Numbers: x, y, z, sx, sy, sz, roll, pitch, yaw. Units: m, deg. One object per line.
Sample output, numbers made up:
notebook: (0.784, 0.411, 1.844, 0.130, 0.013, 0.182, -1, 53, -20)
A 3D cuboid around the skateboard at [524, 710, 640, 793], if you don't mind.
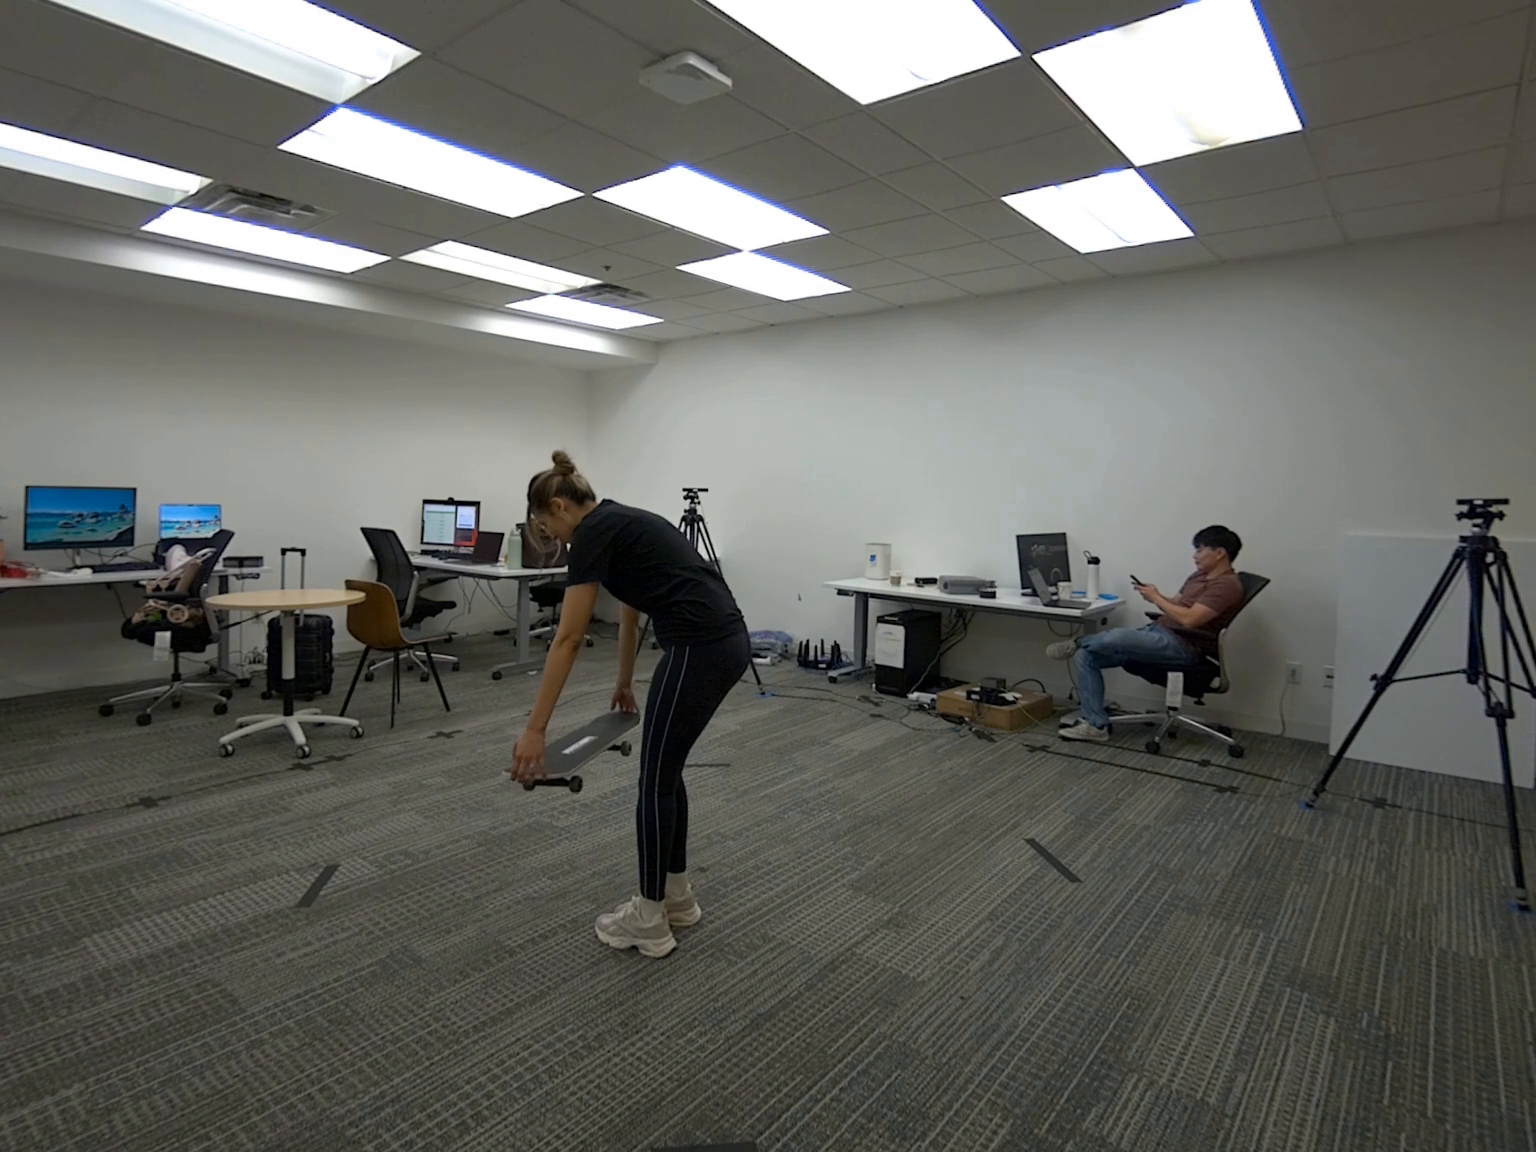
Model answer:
skateboard: (-0.622, 0.573, 2.743, 0.196, 0.110, 0.774, -2, 3, 14)
